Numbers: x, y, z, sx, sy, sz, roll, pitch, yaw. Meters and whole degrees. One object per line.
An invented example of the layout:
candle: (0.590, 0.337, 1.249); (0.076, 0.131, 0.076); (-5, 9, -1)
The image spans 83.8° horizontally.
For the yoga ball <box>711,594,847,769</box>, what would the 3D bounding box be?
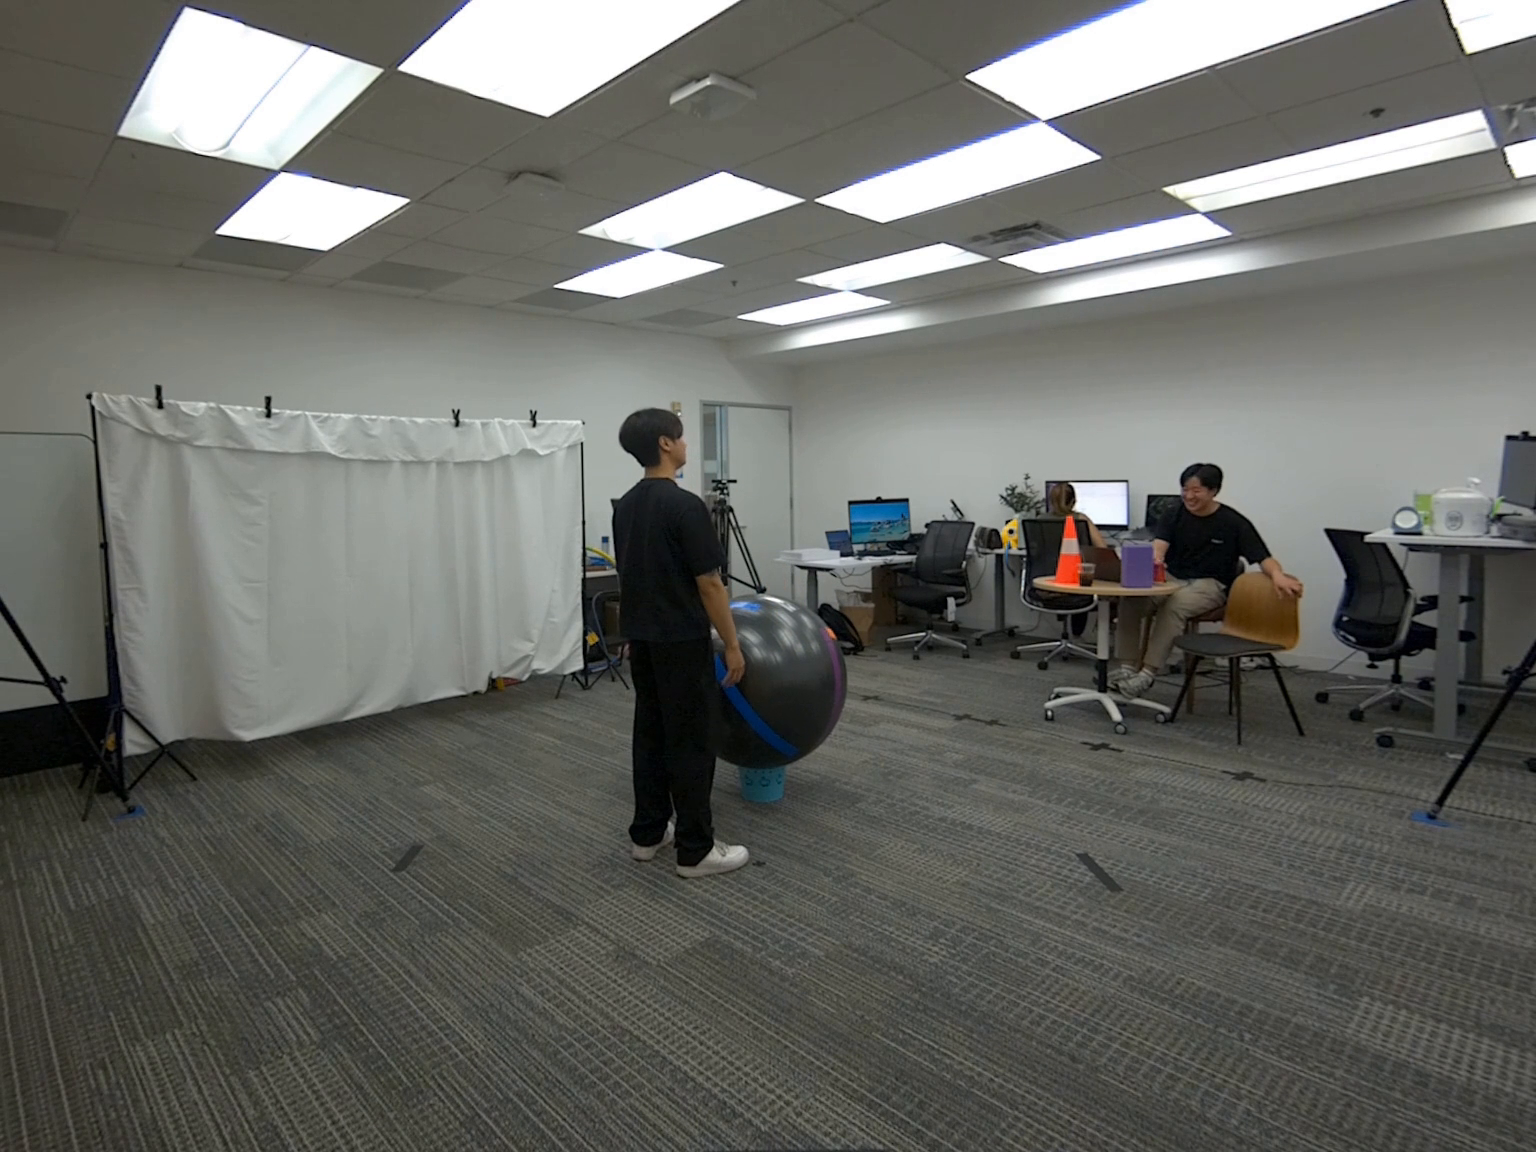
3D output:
yoga ball: (-0.029, 0.463, 3.775); (0.757, 0.755, 0.762); (-1, 5, -2)
